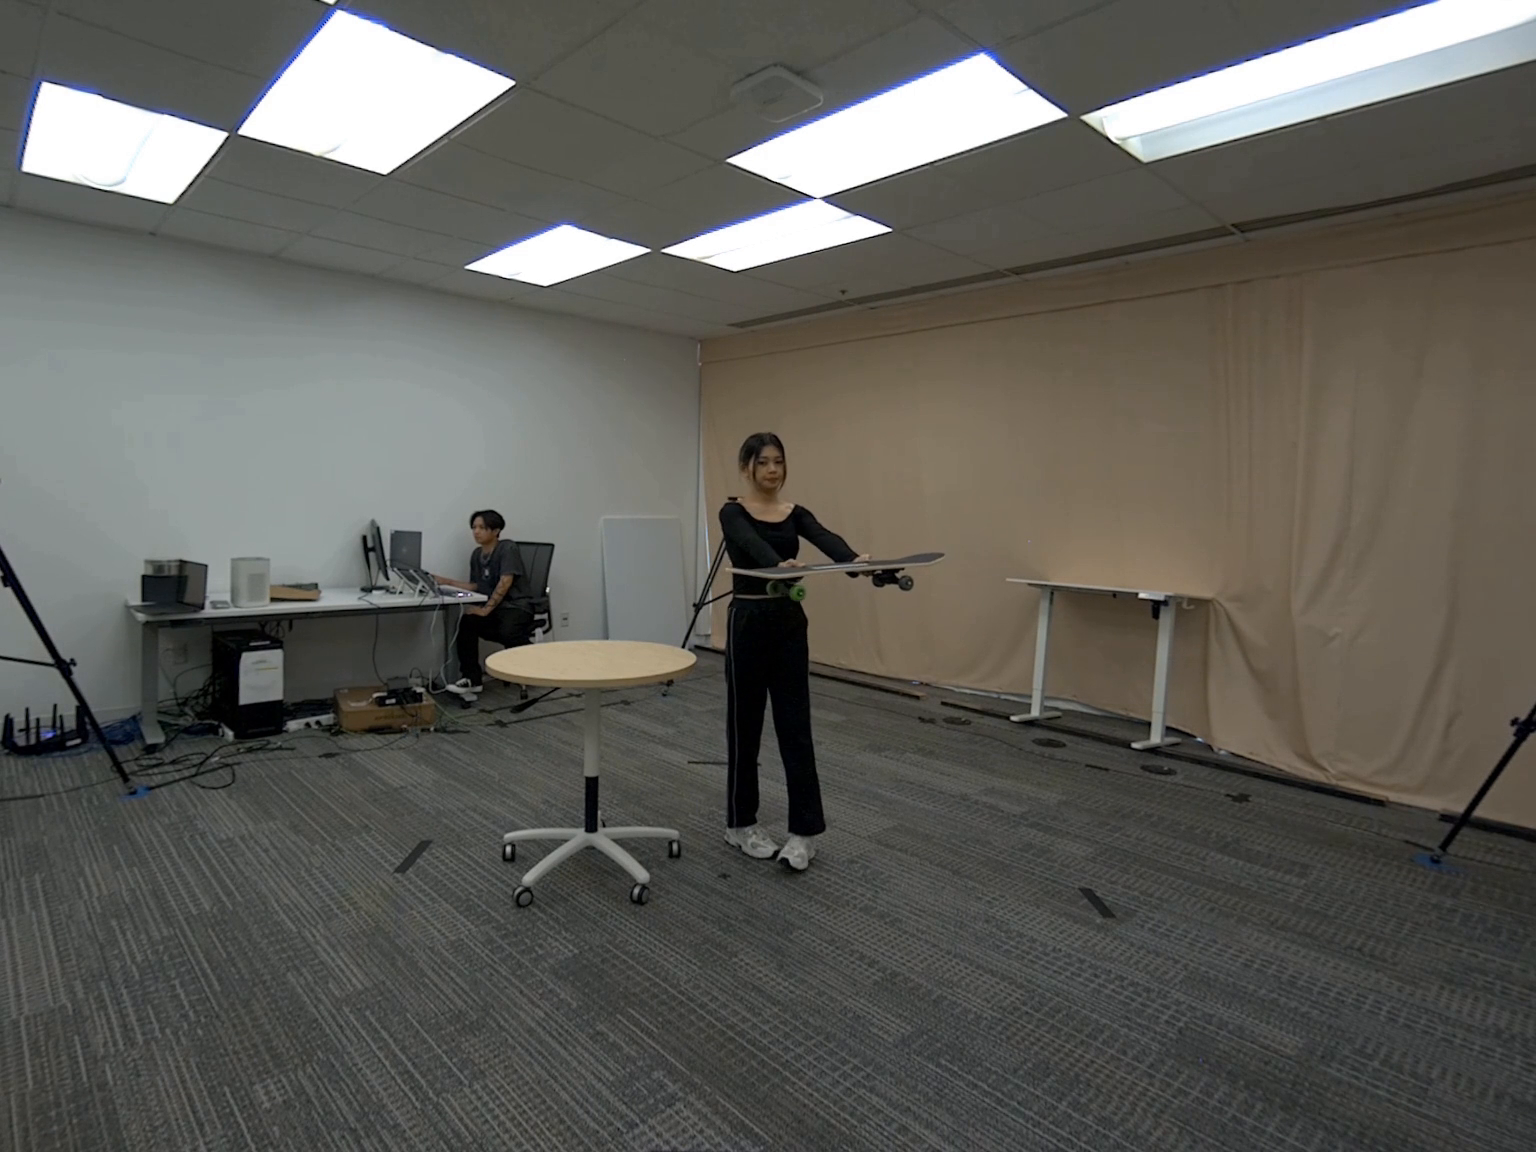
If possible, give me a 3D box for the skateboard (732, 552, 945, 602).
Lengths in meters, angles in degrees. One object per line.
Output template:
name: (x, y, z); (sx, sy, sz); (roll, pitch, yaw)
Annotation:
skateboard: (0.230, 0.004, 2.696); (0.772, 0.110, 0.197); (-5, 5, -26)
